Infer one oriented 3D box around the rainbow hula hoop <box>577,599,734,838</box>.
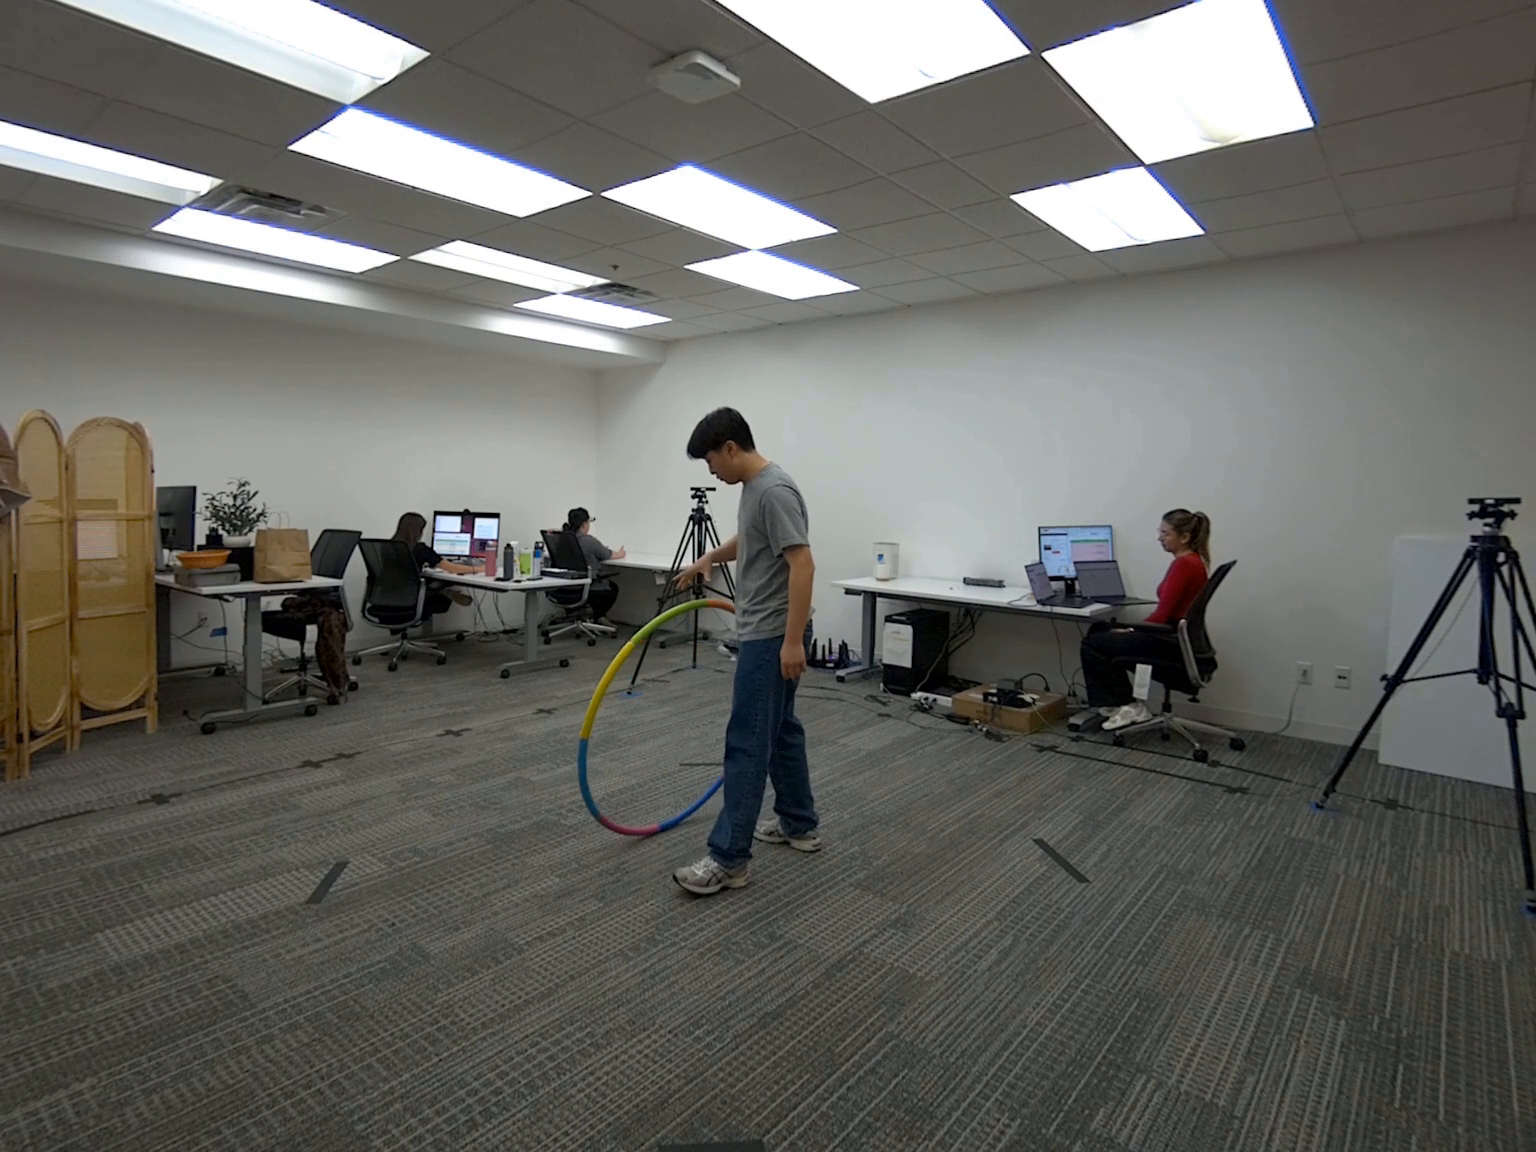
[{"bbox_3d":[-0.358,0.565,3.351,0.037,0.970,0.949,20,16,39],"label":"rainbow hula hoop"}]
